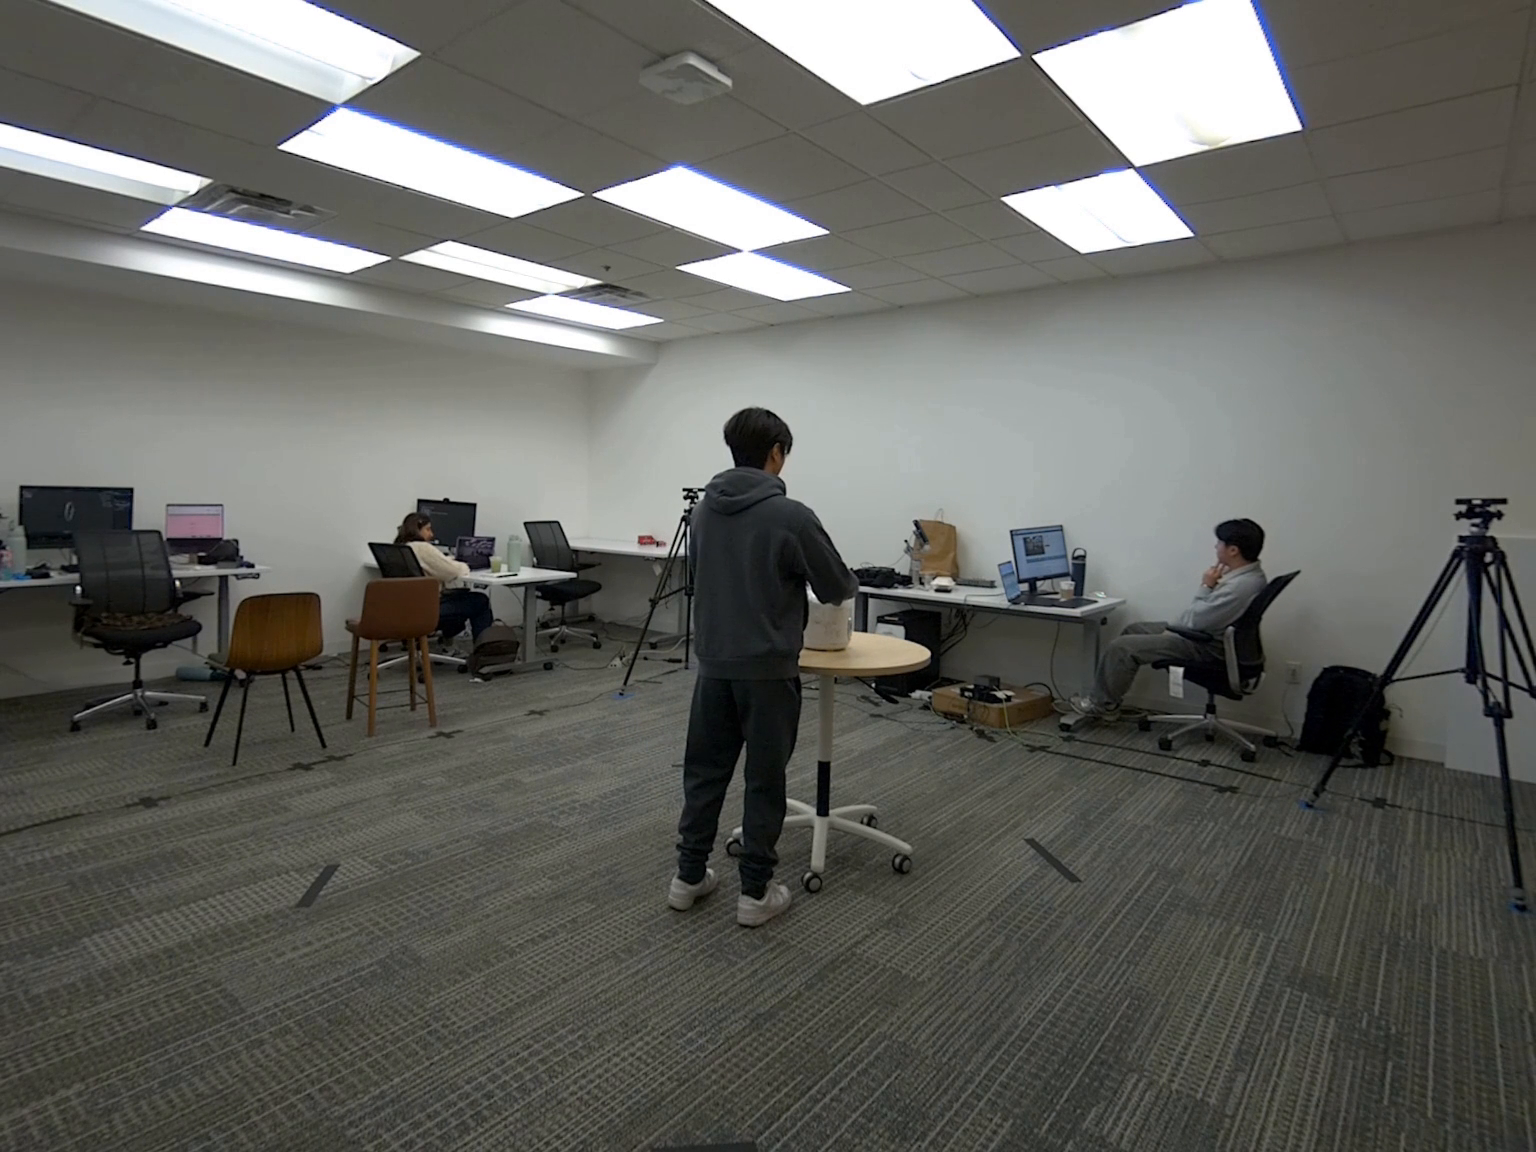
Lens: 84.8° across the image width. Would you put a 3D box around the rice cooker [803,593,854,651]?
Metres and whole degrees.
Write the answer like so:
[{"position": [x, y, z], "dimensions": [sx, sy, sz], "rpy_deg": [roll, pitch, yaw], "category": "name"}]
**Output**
[{"position": [0.207, 0.153, 3.245], "dimensions": [0.222, 0.232, 0.217], "rpy_deg": [2, 5, 19], "category": "rice cooker"}]
